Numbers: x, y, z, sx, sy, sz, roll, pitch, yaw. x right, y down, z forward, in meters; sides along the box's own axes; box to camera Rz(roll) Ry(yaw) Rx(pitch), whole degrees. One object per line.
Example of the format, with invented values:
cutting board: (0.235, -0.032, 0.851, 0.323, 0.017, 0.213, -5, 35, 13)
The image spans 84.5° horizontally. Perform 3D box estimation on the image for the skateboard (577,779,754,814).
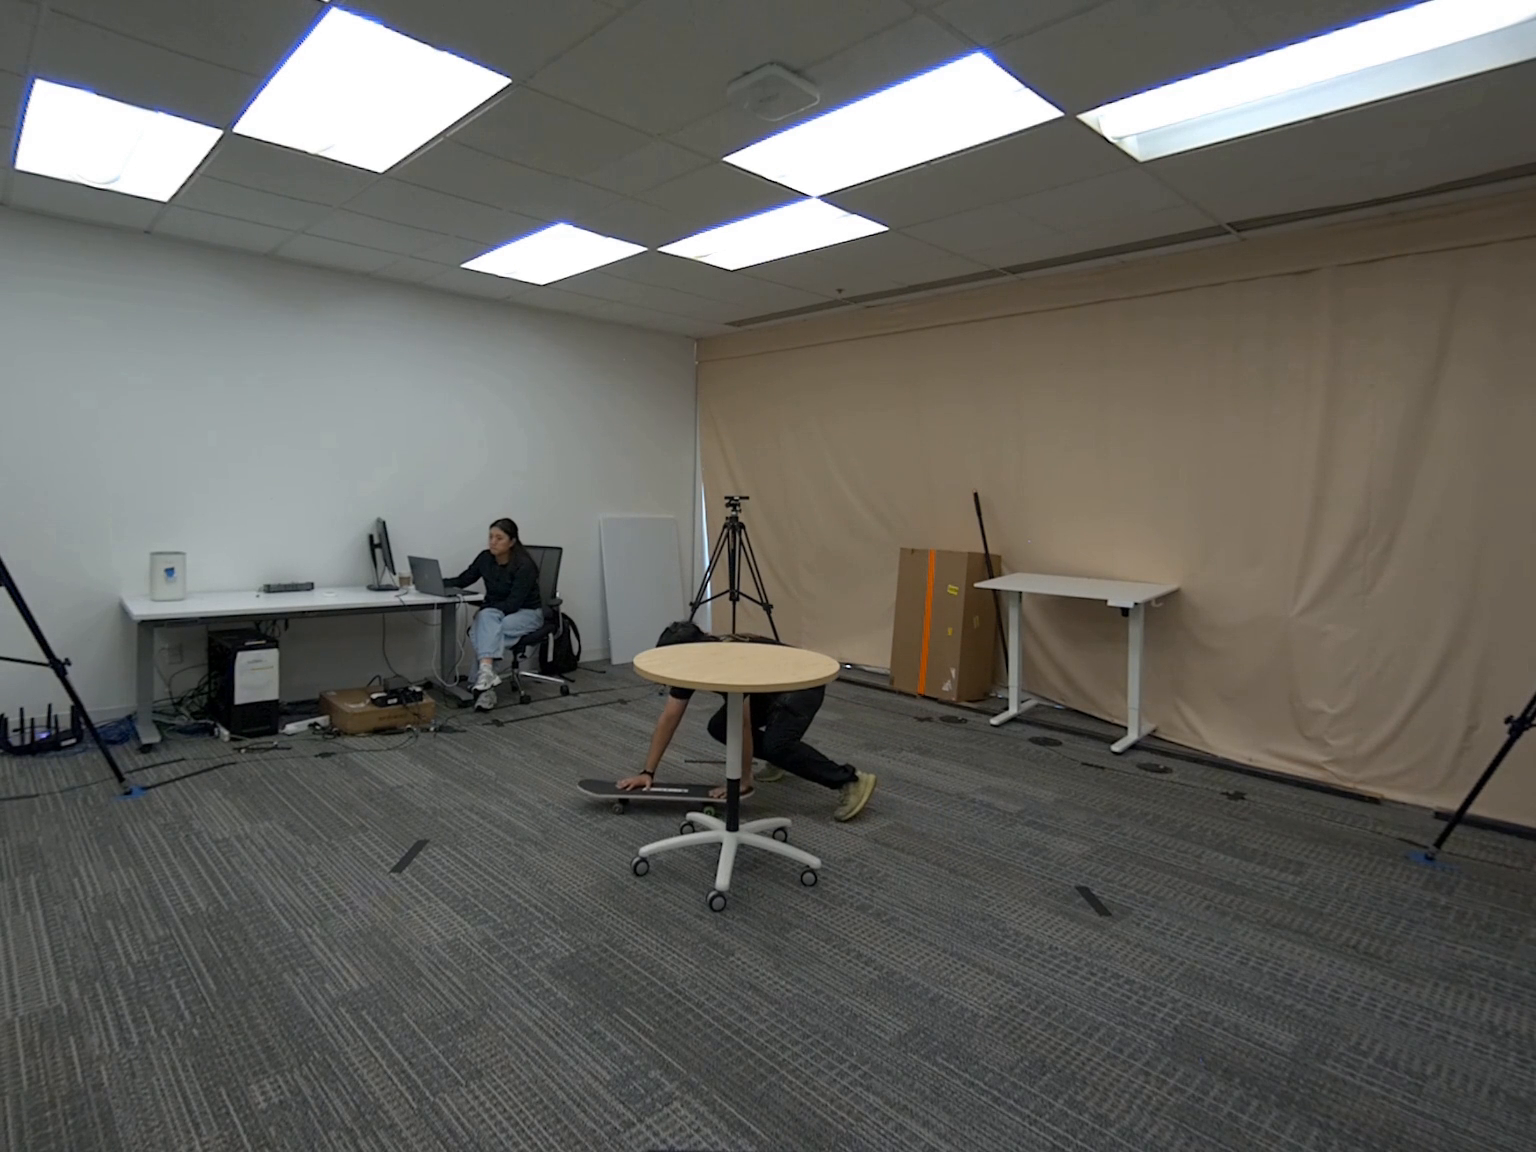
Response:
skateboard: (-0.466, 0.979, 3.745, 0.787, 0.110, 0.193, 2, 4, 3)
